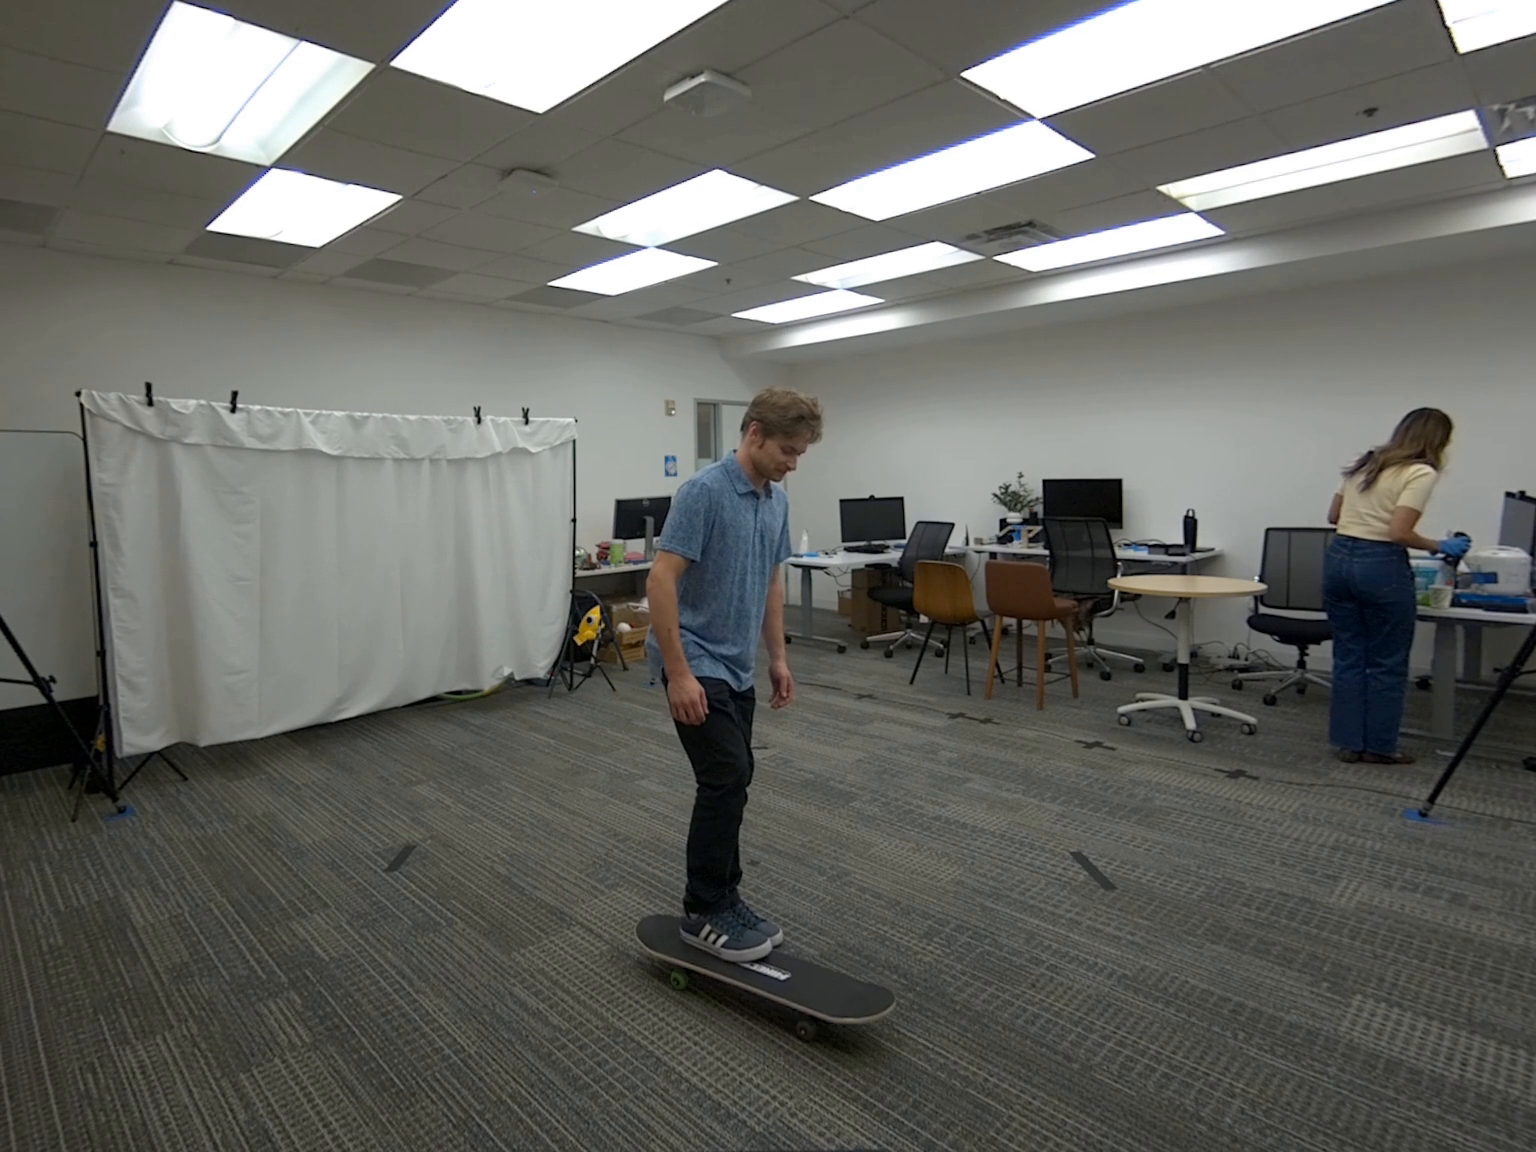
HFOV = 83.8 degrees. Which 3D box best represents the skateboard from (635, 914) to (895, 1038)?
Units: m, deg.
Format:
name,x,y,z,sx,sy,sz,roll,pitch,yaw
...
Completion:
name,x,y,z,sx,sy,sz,roll,pitch,yaw
skateboard,-0.029,1.079,2.299,0.807,0.110,0.189,2,5,33
